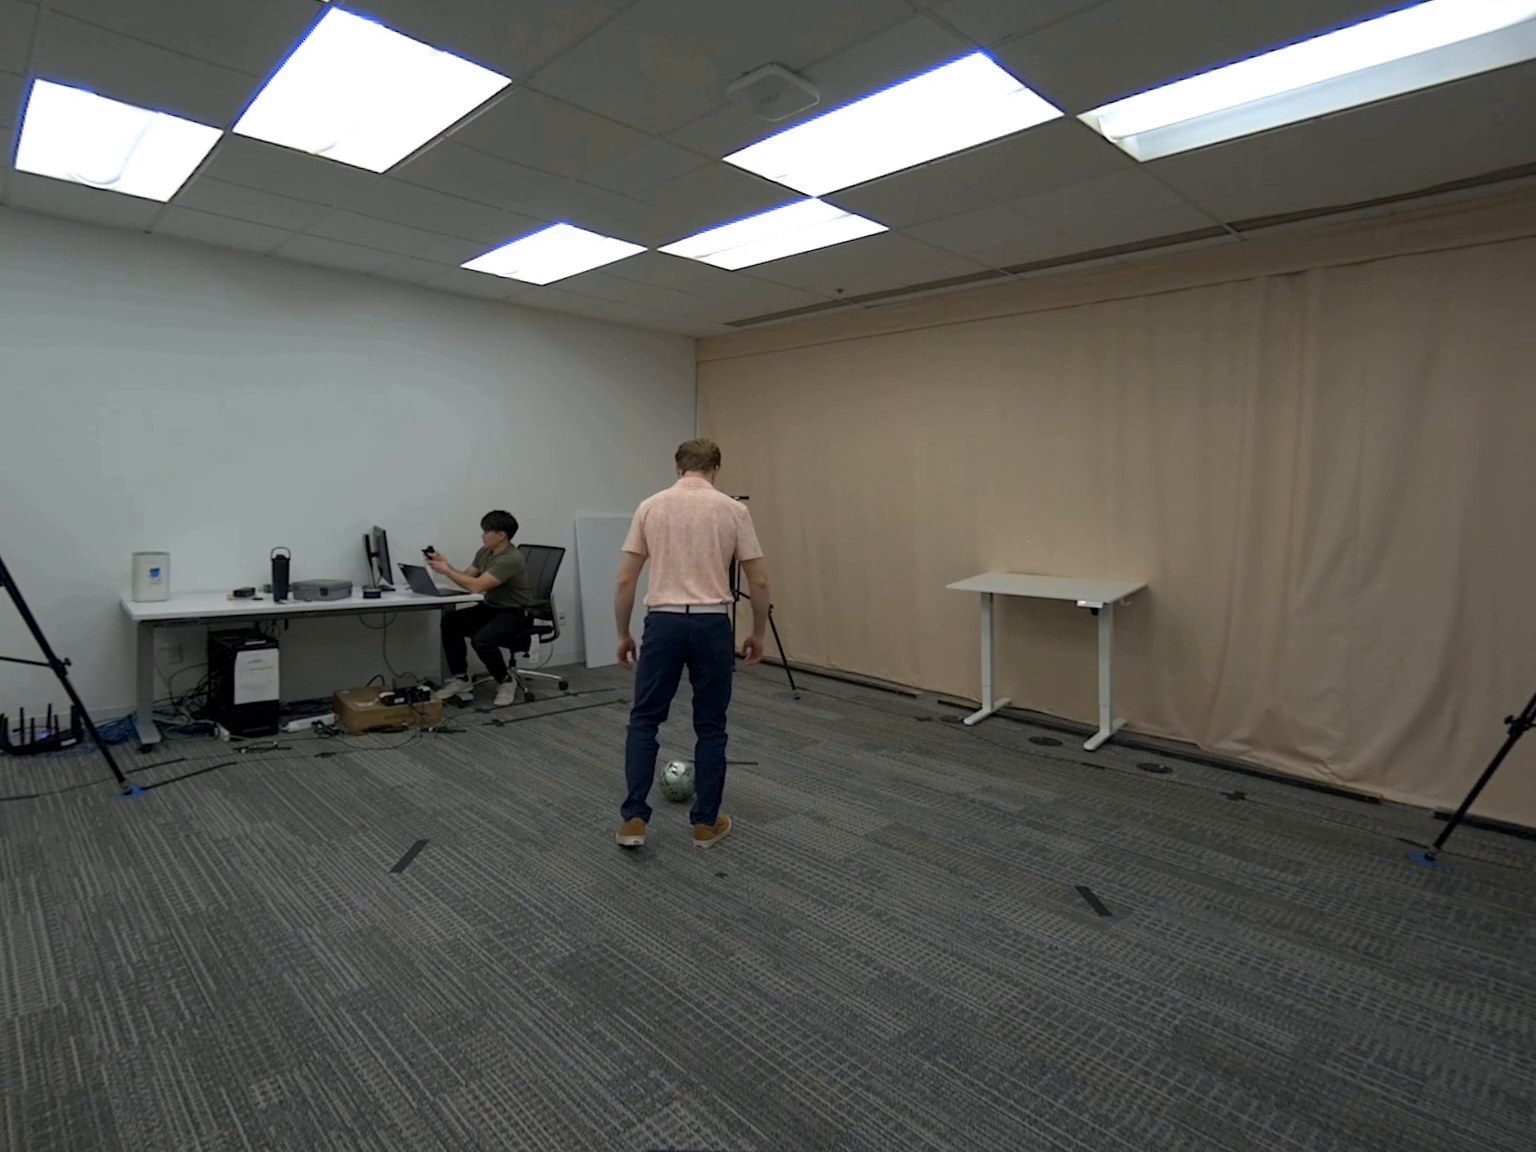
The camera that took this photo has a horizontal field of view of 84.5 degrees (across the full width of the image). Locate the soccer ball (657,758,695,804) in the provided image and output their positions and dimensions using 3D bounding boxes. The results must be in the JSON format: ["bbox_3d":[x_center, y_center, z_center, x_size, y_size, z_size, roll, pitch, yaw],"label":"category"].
[{"bbox_3d":[-0.418,0.938,3.869,0.187,0.187,0.188,1,4,-1],"label":"soccer ball"}]
